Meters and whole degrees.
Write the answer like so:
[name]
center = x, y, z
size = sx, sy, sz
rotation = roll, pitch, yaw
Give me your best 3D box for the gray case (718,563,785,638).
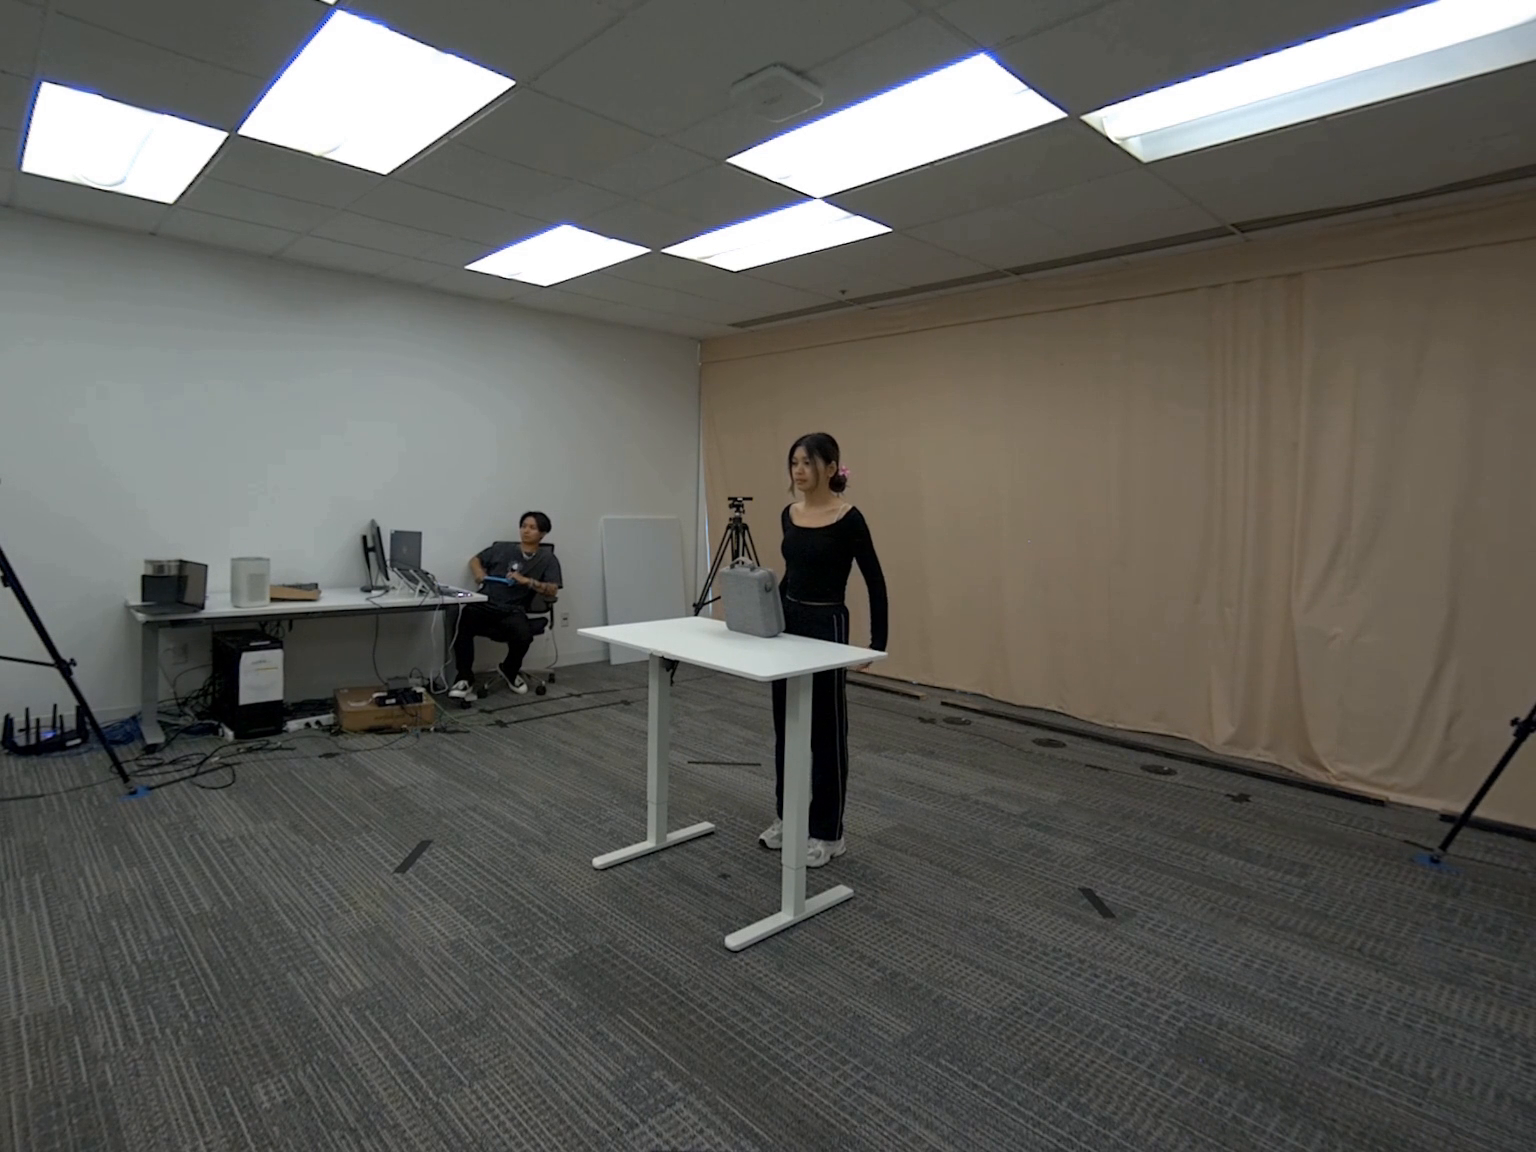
[gray case]
center = -0.069, 0.087, 3.166
size = 0.103, 0.258, 0.263
rotation = -16, 14, -34
